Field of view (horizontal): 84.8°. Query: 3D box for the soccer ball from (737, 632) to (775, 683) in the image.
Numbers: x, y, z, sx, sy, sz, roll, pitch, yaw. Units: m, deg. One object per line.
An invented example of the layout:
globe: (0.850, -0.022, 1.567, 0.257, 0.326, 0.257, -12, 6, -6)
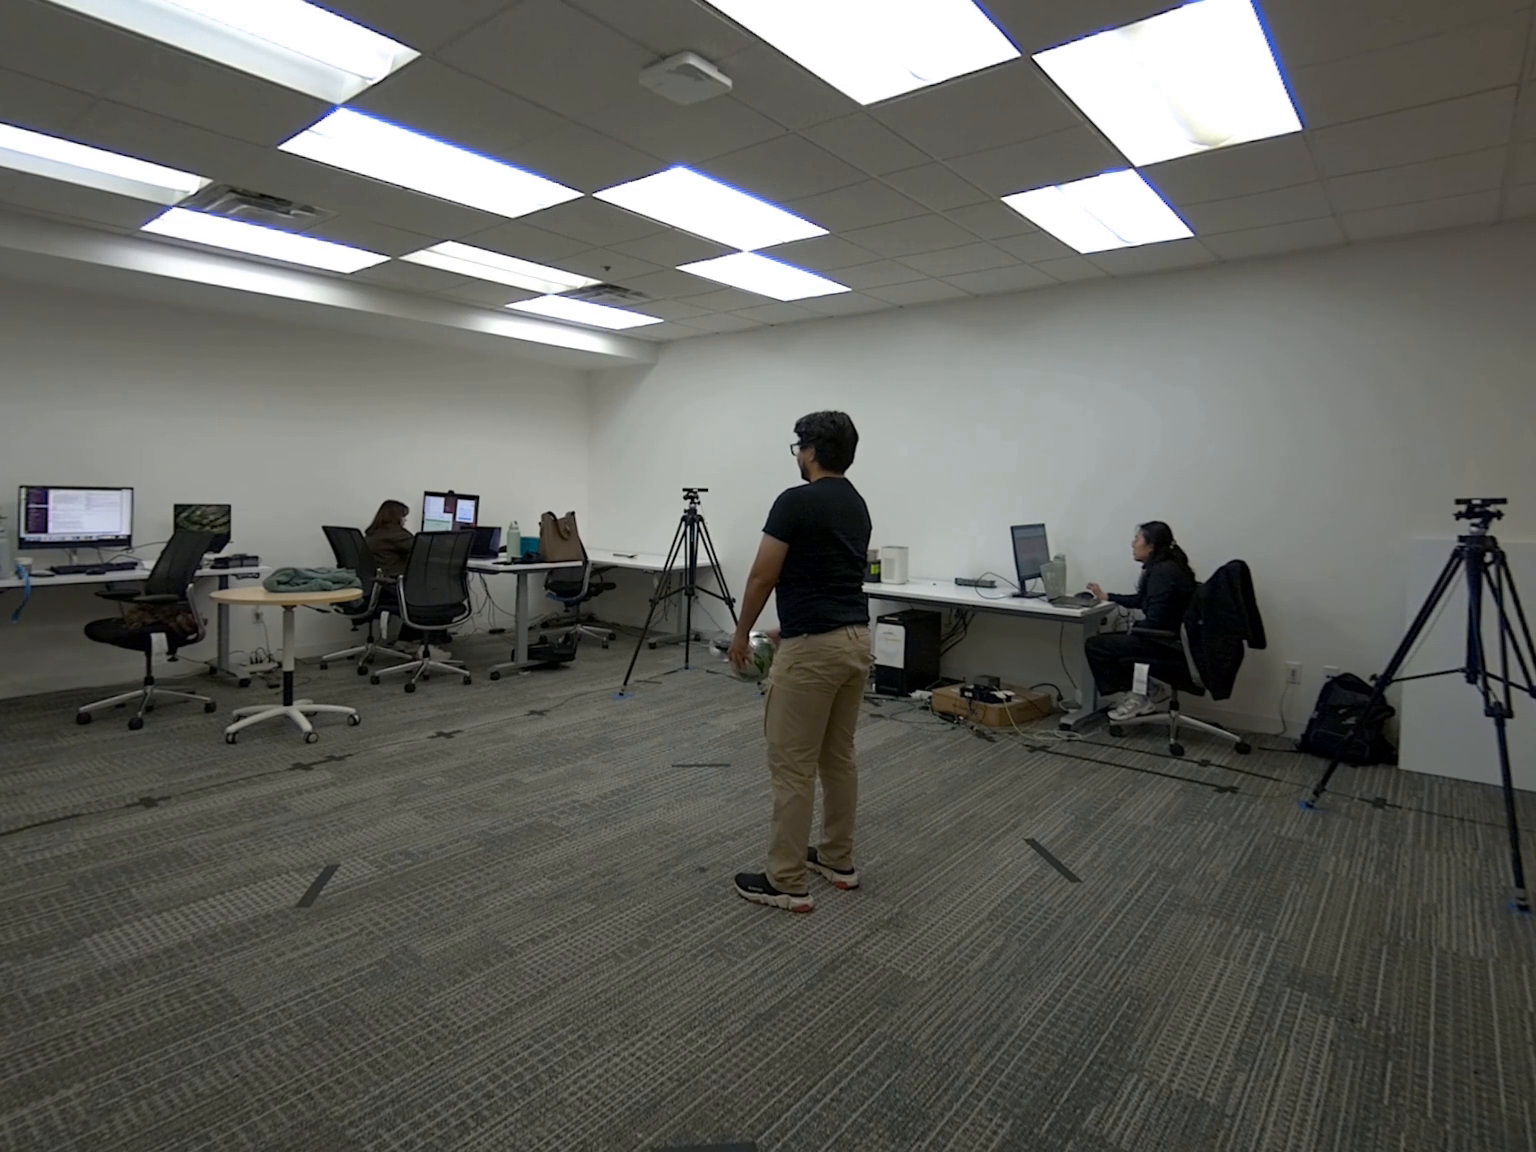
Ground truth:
soccer ball: (-0.053, 0.290, 3.169, 0.187, 0.187, 0.188, 1, 4, -2)
